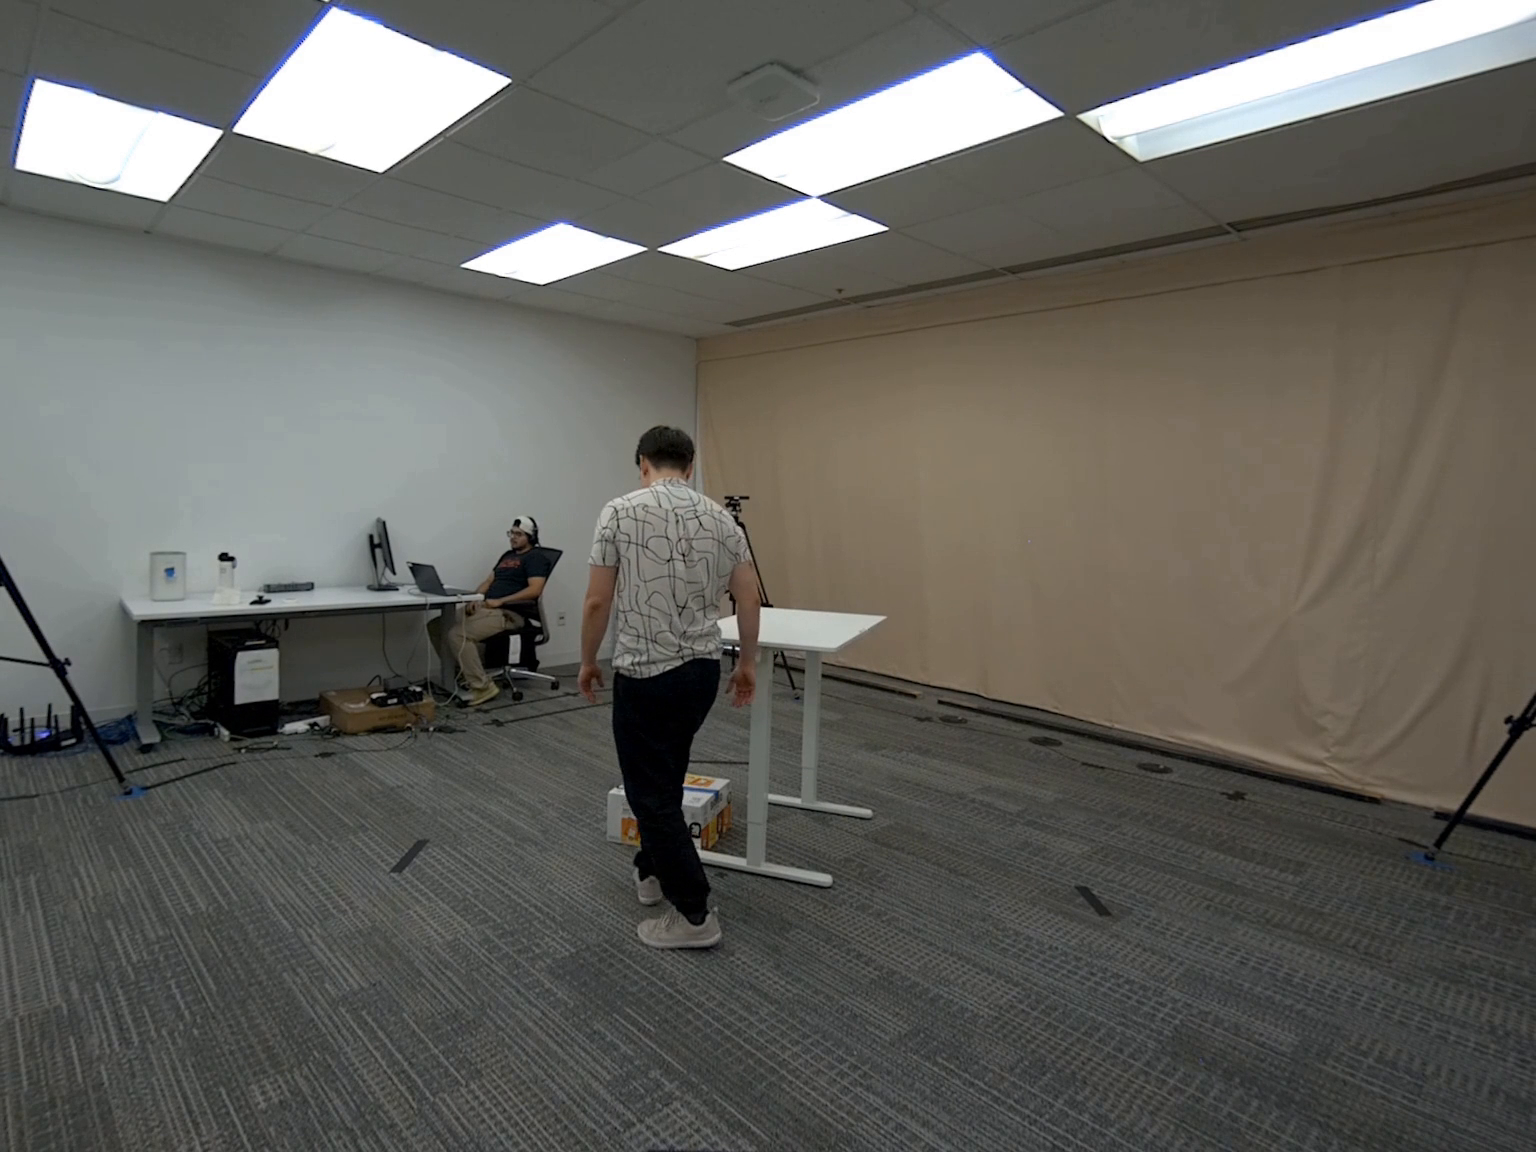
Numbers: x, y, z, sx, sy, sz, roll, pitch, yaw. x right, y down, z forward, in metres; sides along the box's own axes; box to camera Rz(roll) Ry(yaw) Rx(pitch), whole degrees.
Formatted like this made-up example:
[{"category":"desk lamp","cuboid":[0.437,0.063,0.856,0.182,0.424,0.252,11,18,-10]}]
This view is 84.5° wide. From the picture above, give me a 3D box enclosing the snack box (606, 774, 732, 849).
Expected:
[{"category":"snack box","cuboid":[-0.408,0.965,3.462,0.411,0.205,0.336,3,4,19]}]
